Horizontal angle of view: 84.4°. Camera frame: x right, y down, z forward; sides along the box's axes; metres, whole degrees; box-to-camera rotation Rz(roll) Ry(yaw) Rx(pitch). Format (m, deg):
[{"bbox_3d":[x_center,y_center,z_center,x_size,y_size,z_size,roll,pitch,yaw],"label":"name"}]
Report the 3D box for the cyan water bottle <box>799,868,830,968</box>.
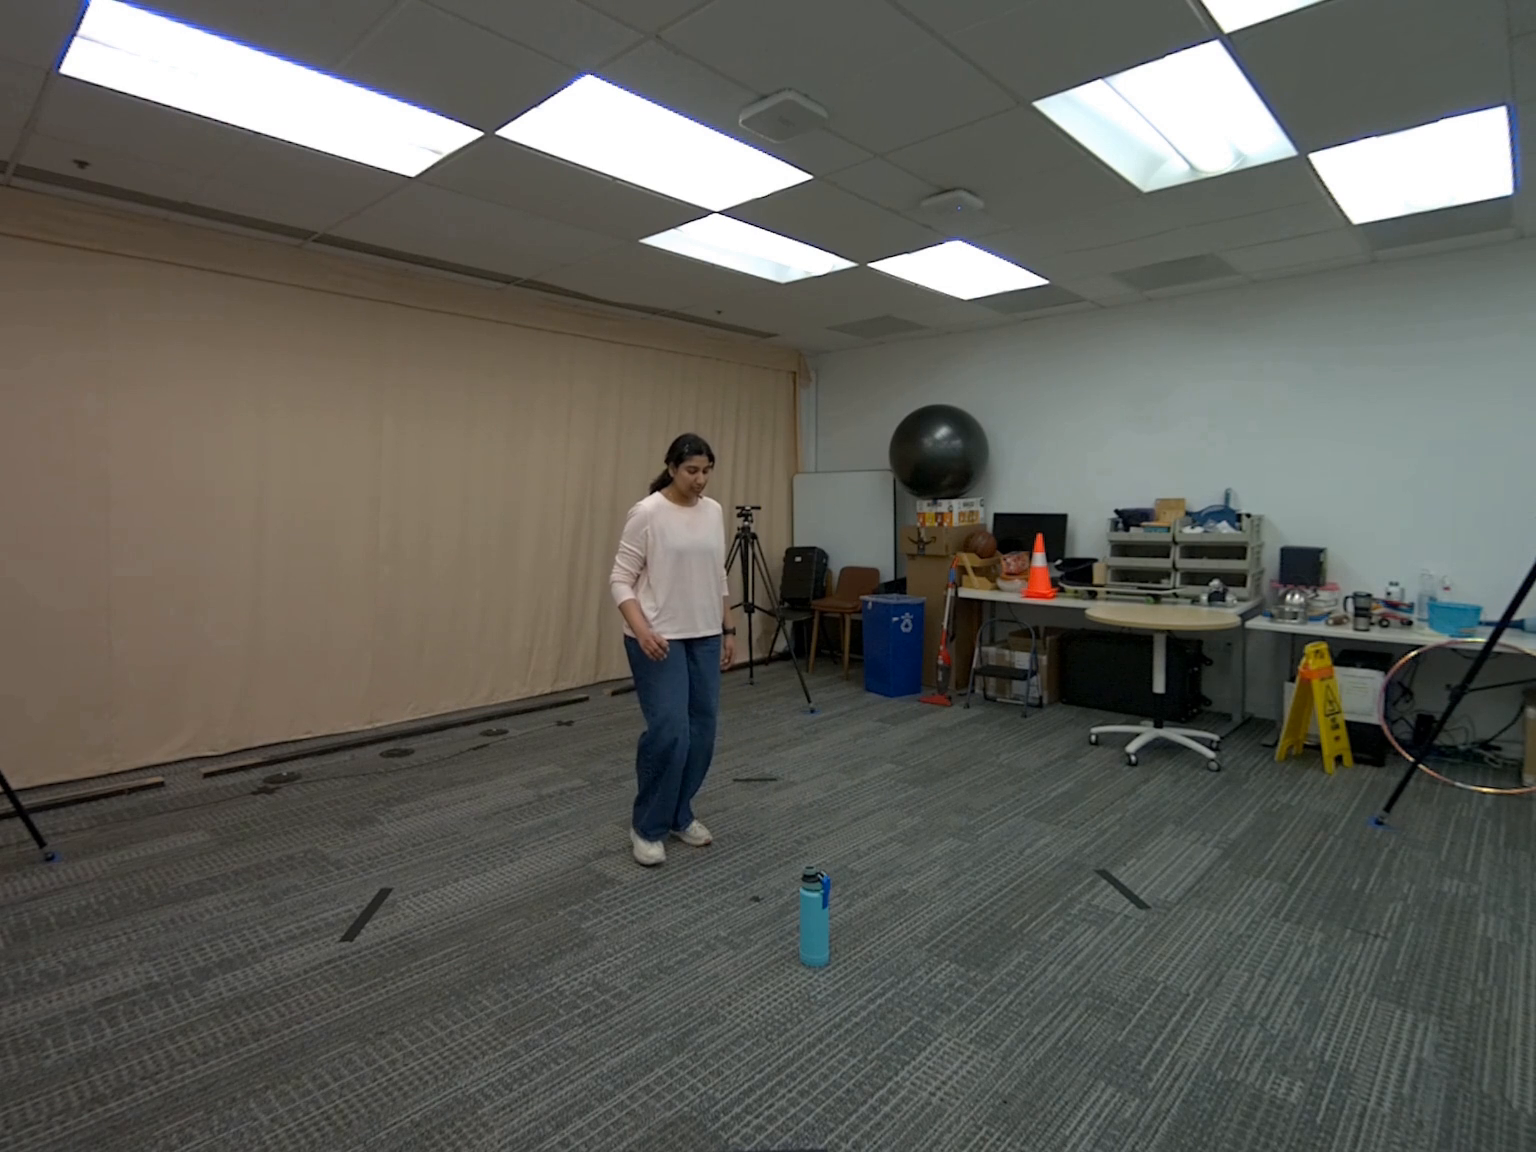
[{"bbox_3d":[0.151,1.042,2.571,0.092,0.283,0.092,0,4,-2],"label":"cyan water bottle"}]
